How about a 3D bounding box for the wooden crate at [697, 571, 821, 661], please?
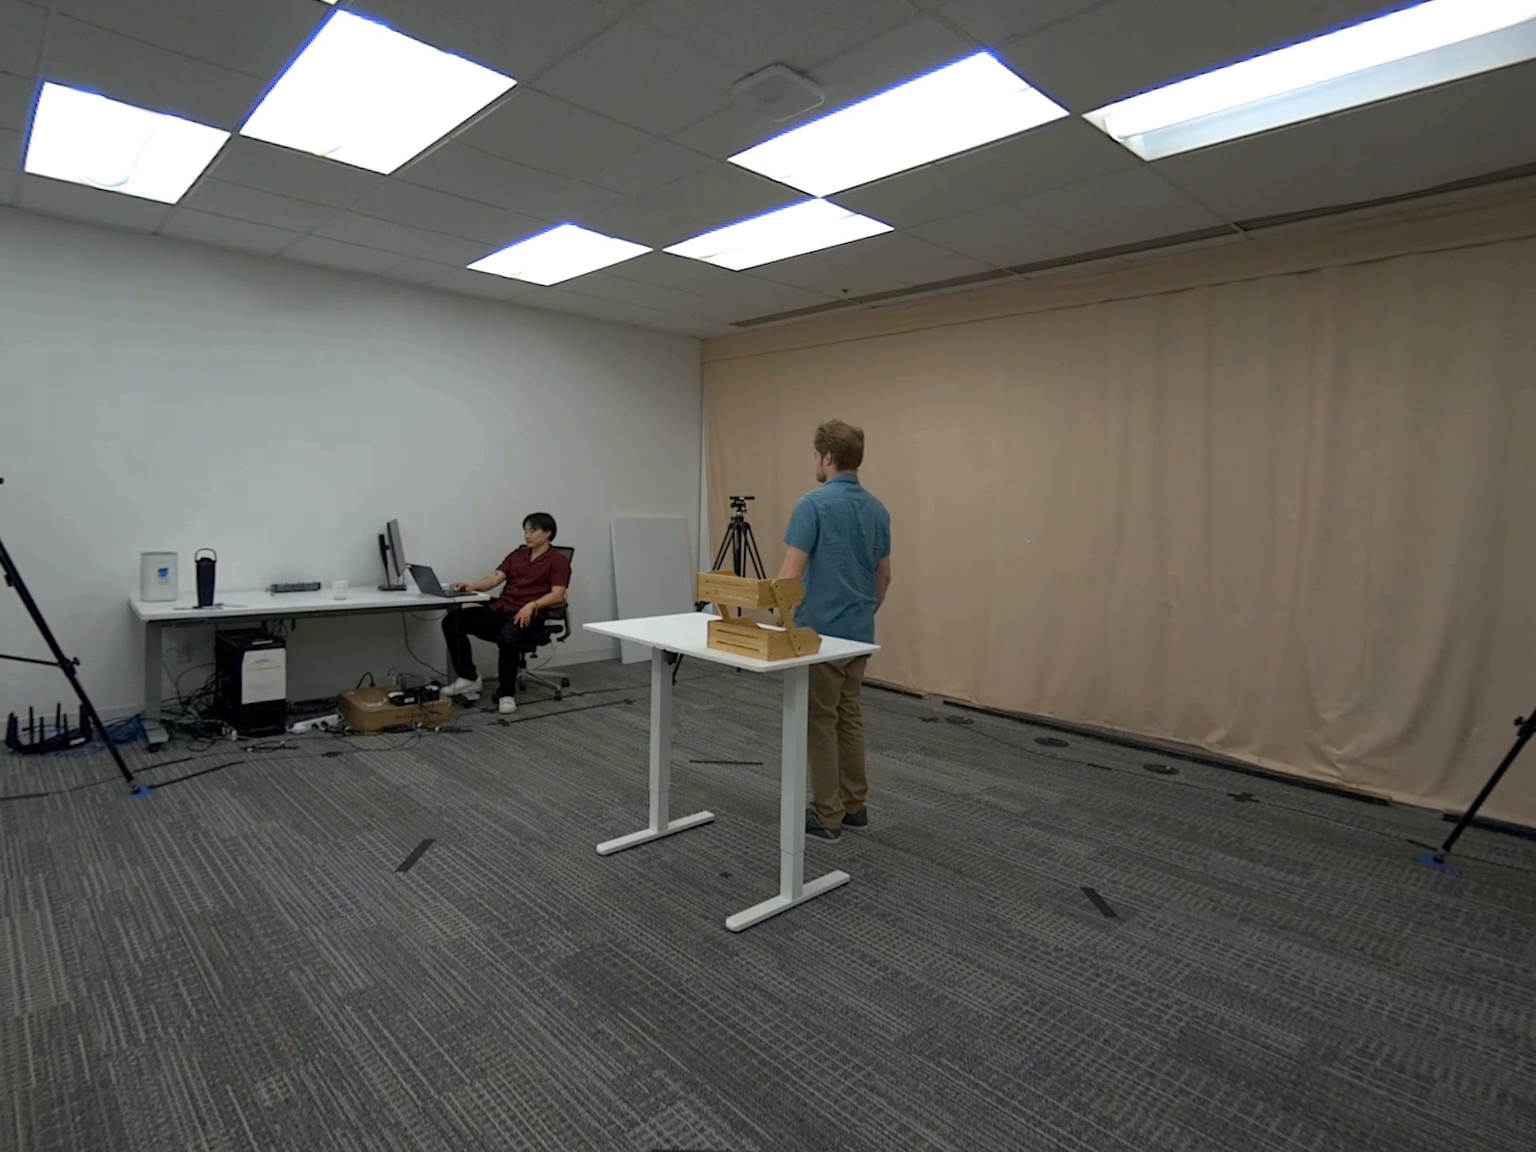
[{"bbox_3d":[-0.036,0.120,2.808,0.295,0.272,0.333,-4,6,-44],"label":"wooden crate"}]
